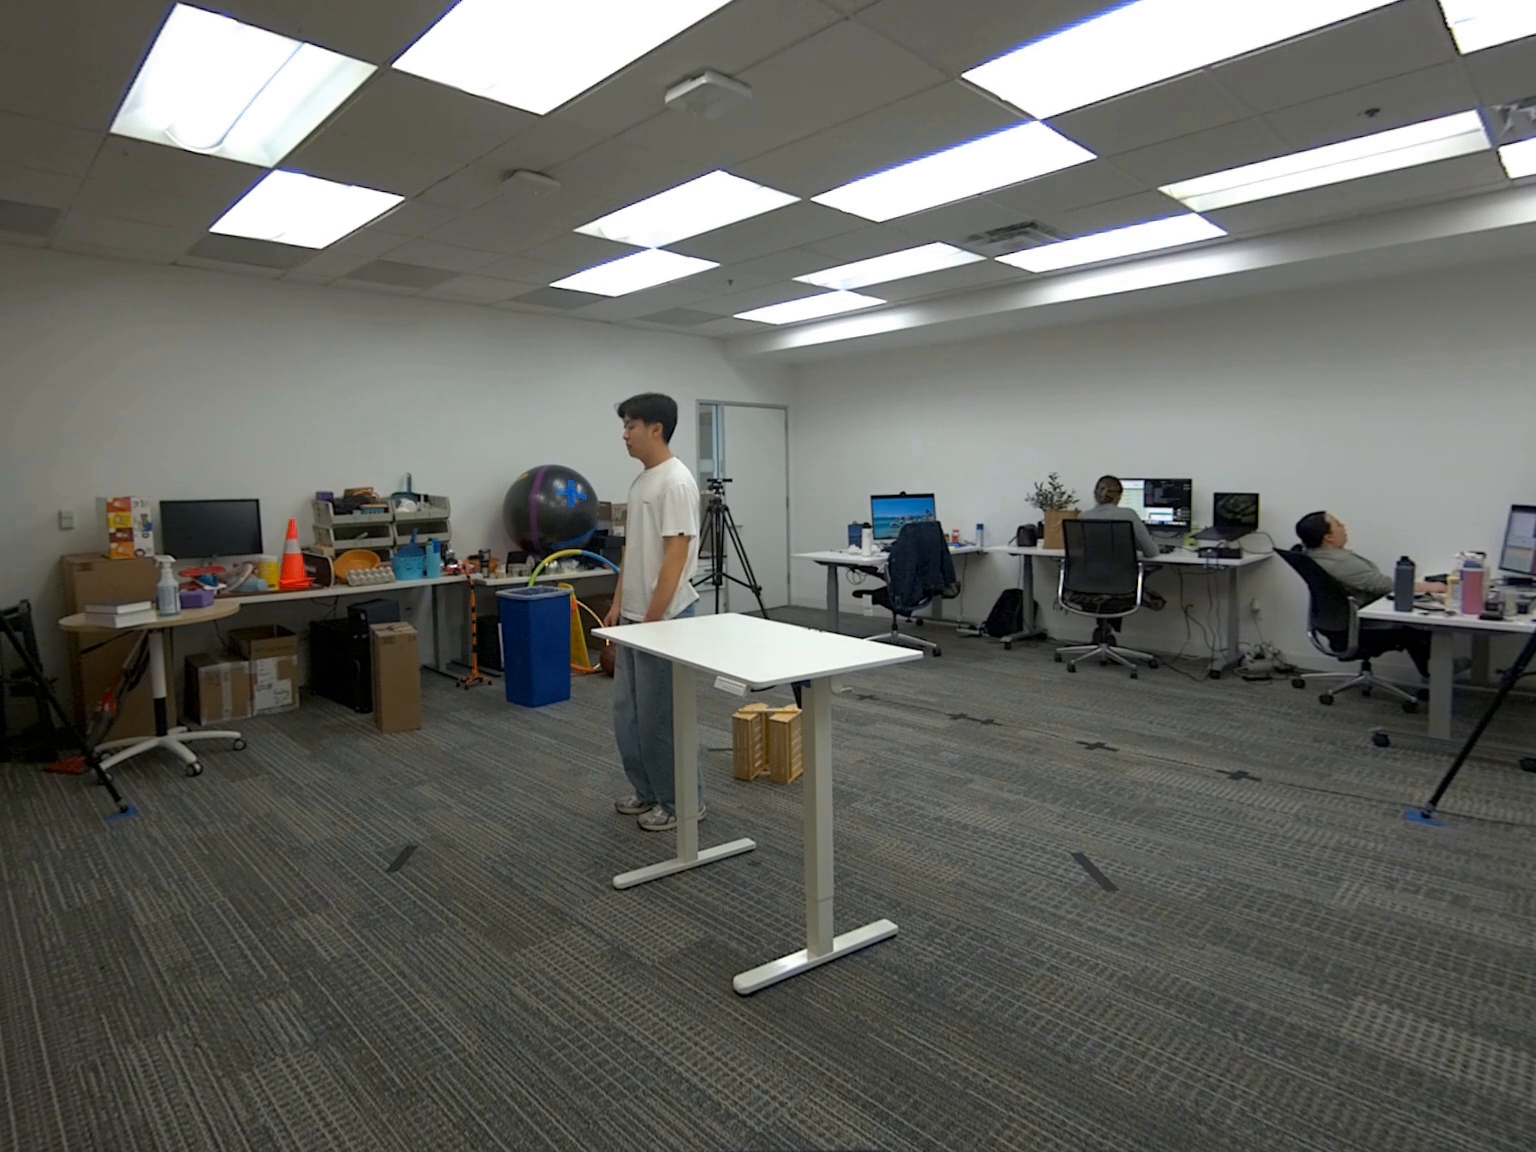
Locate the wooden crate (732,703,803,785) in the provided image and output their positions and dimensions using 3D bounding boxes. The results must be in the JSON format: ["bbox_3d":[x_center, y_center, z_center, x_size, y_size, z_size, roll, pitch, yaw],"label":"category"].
[{"bbox_3d":[0.013,0.777,4.035,0.280,0.322,0.297,5,11,28],"label":"wooden crate"}]
